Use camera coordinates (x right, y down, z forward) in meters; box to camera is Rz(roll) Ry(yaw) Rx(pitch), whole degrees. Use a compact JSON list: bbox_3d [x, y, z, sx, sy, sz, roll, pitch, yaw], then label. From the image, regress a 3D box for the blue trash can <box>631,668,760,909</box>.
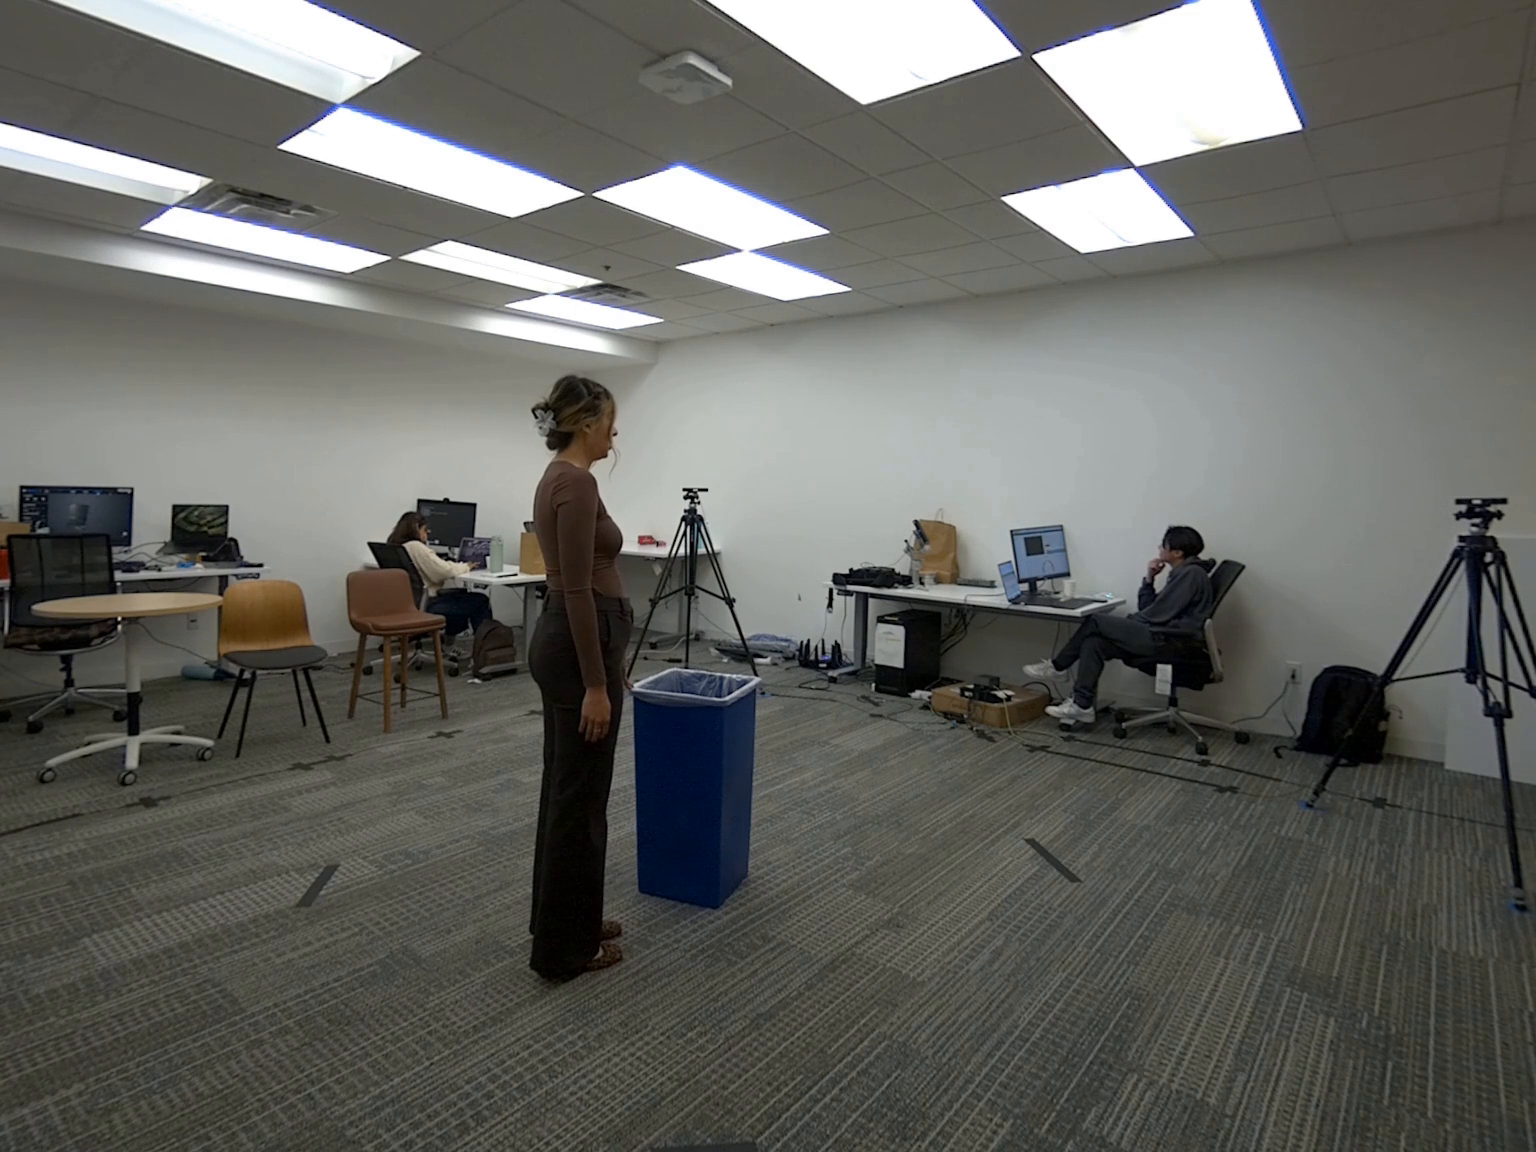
[{"bbox_3d":[-0.261,0.722,2.978,0.387,0.712,0.366,2,3,21],"label":"blue trash can"}]
